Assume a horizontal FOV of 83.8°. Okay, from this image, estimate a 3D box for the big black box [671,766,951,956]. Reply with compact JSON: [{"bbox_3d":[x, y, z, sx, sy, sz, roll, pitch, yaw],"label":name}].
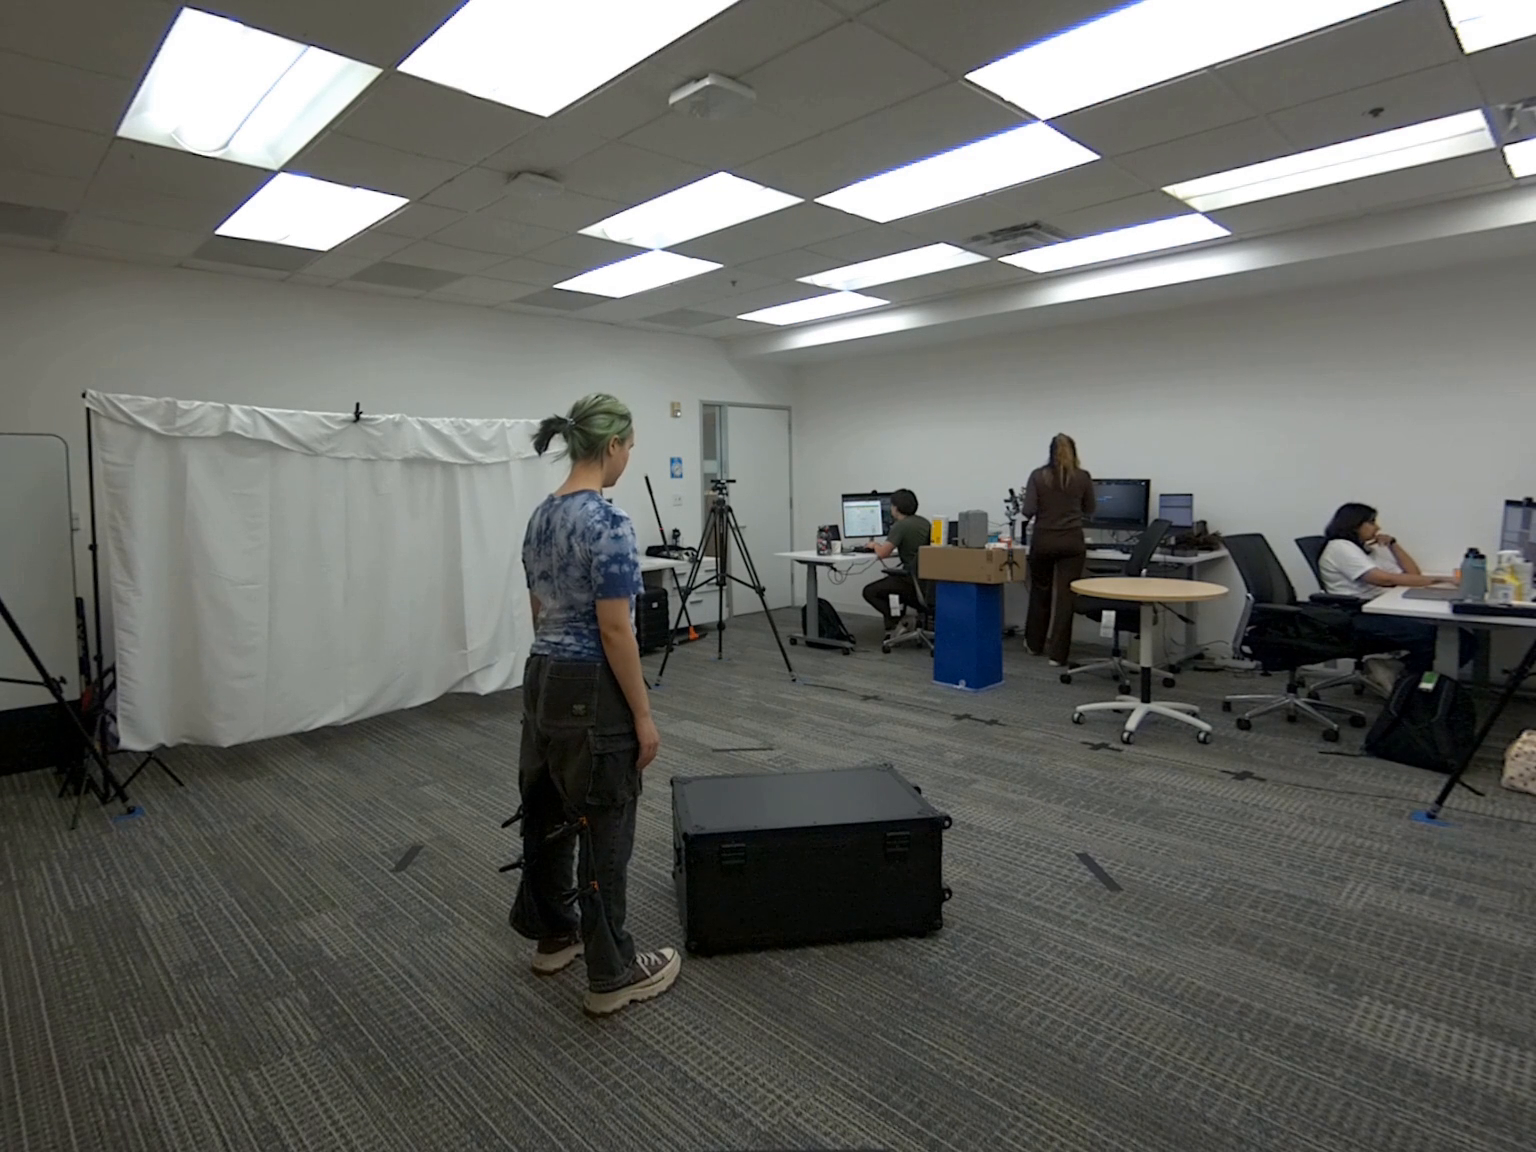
[{"bbox_3d":[0.076,0.892,2.764,0.855,0.395,0.527,-2,5,-9],"label":"big black box"}]
